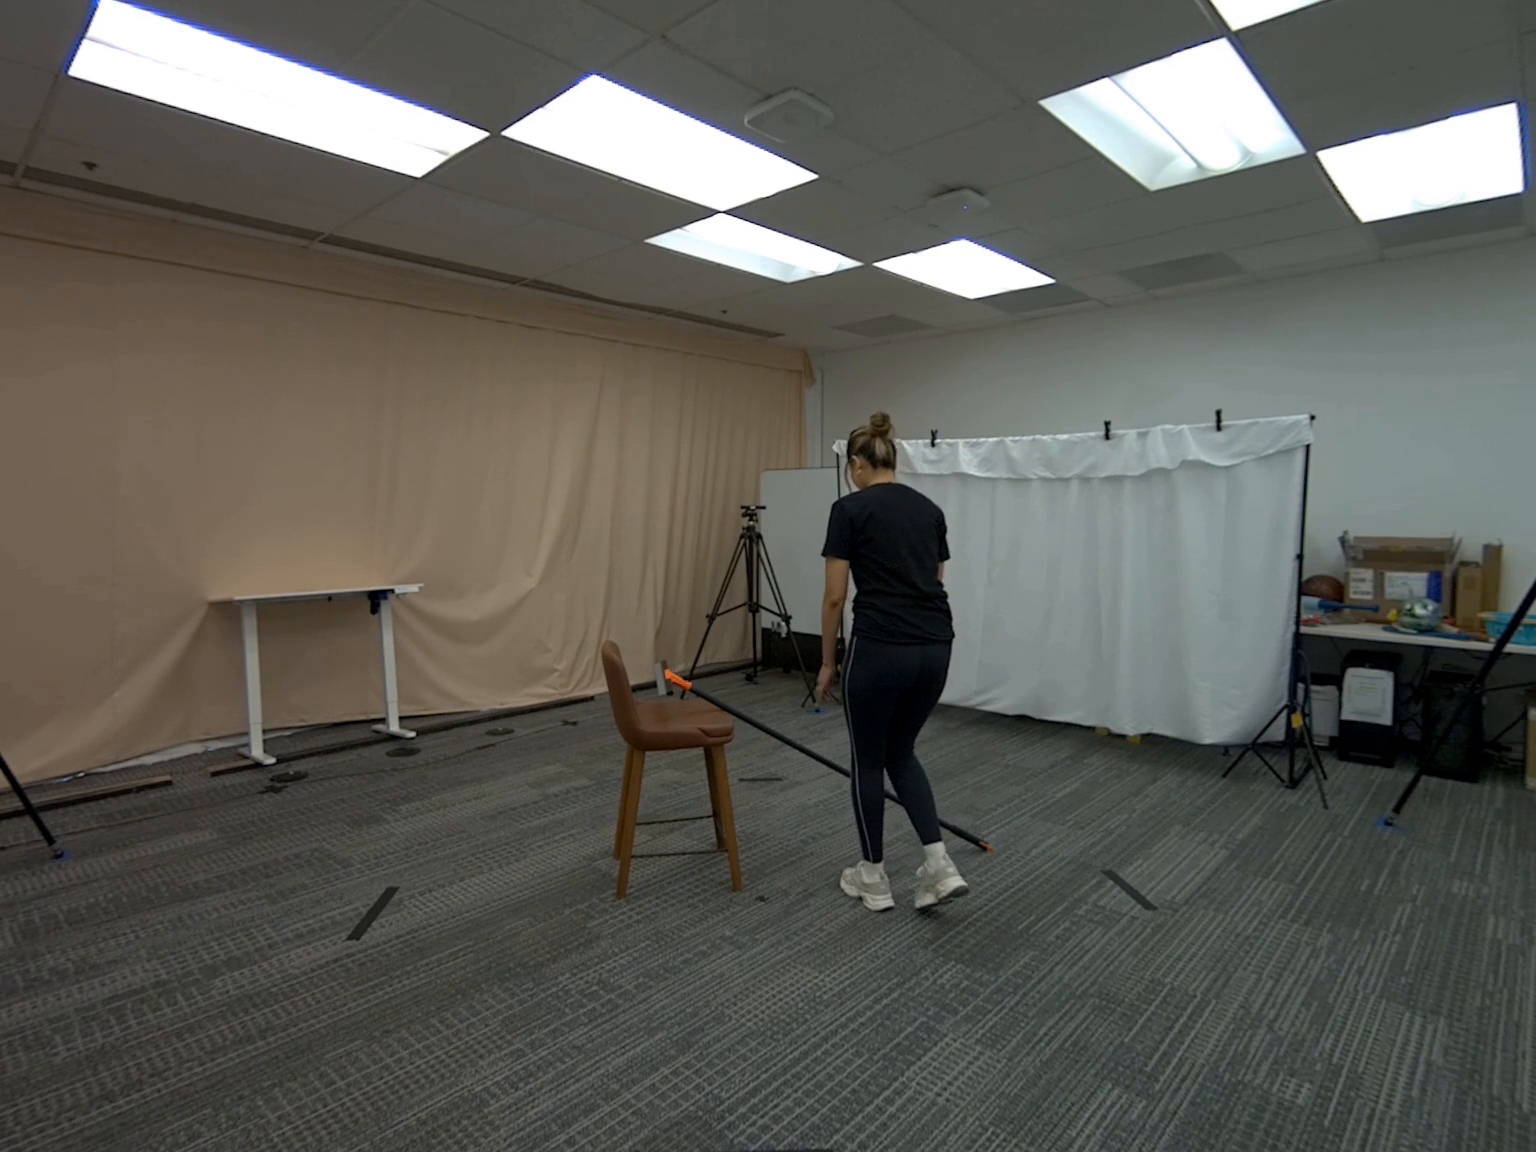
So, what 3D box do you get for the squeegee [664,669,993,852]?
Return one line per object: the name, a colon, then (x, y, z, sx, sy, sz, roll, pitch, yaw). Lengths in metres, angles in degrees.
squeegee: (0.256, 0.740, 3.287, 1.521, 0.053, 0.441, 26, 39, -9)
